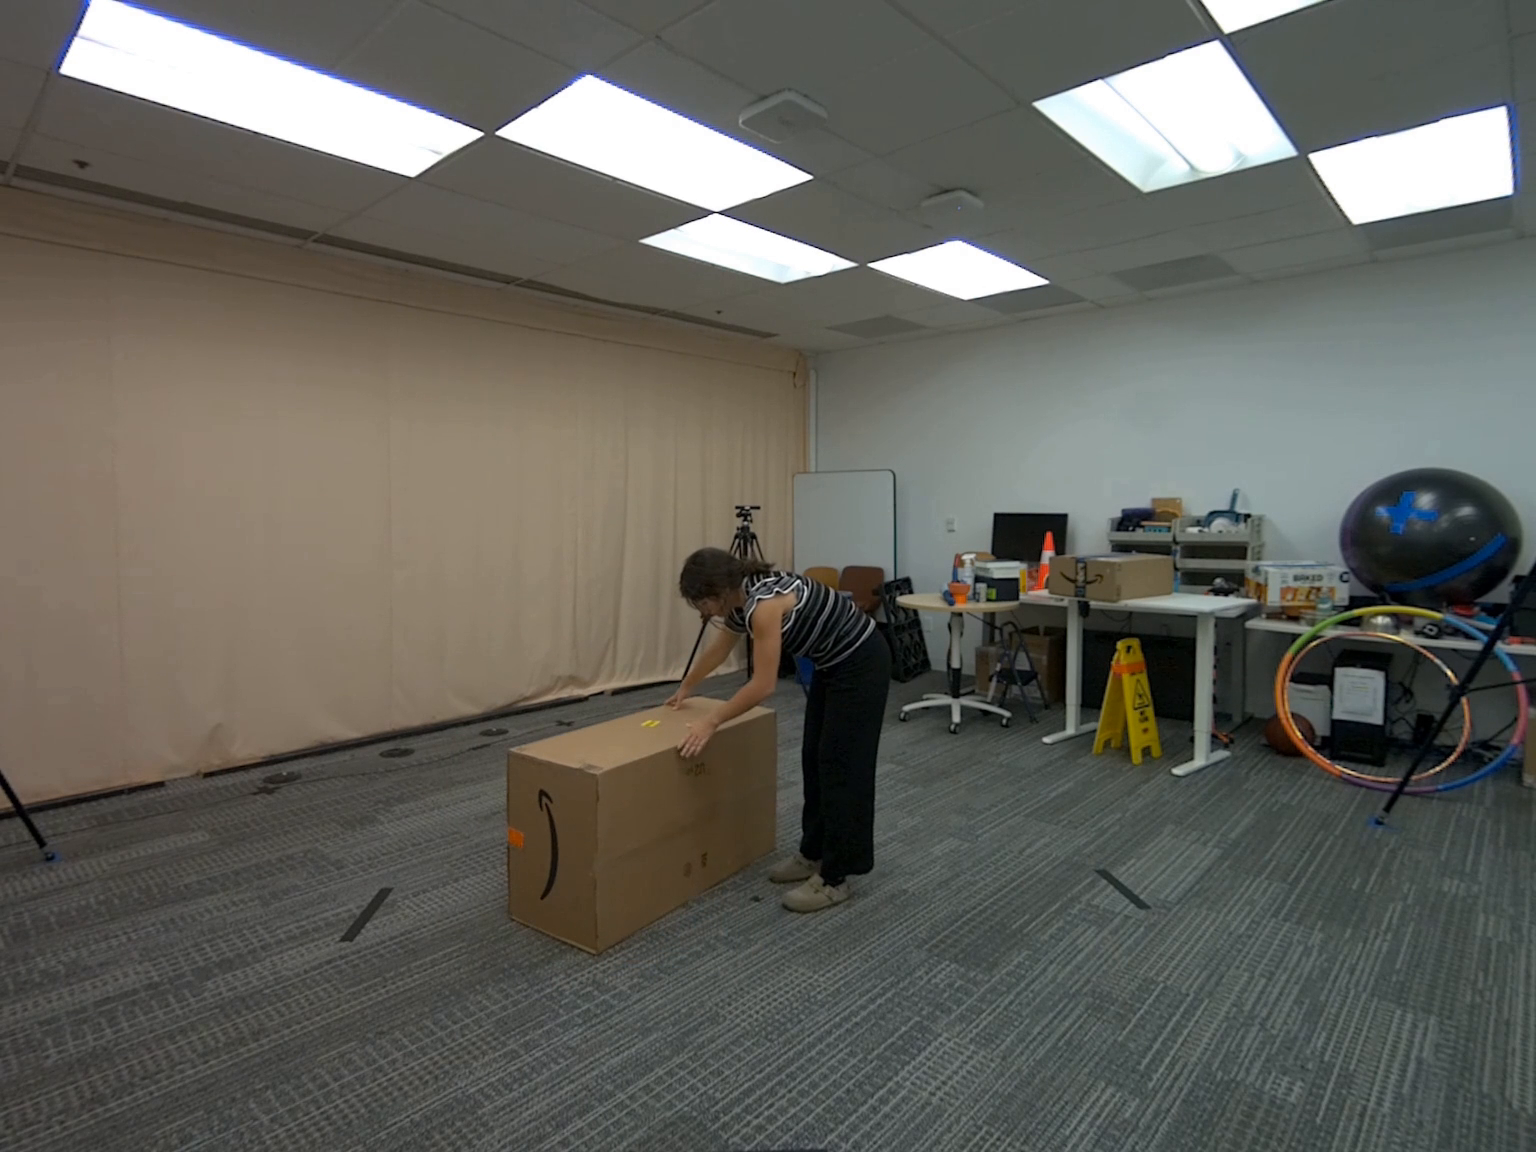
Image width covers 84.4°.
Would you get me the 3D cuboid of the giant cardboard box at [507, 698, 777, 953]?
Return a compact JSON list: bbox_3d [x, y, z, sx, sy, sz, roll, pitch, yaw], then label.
[{"bbox_3d":[-0.422,0.844,3.123,0.439,0.576,0.996,2,5,34],"label":"giant cardboard box"}]
